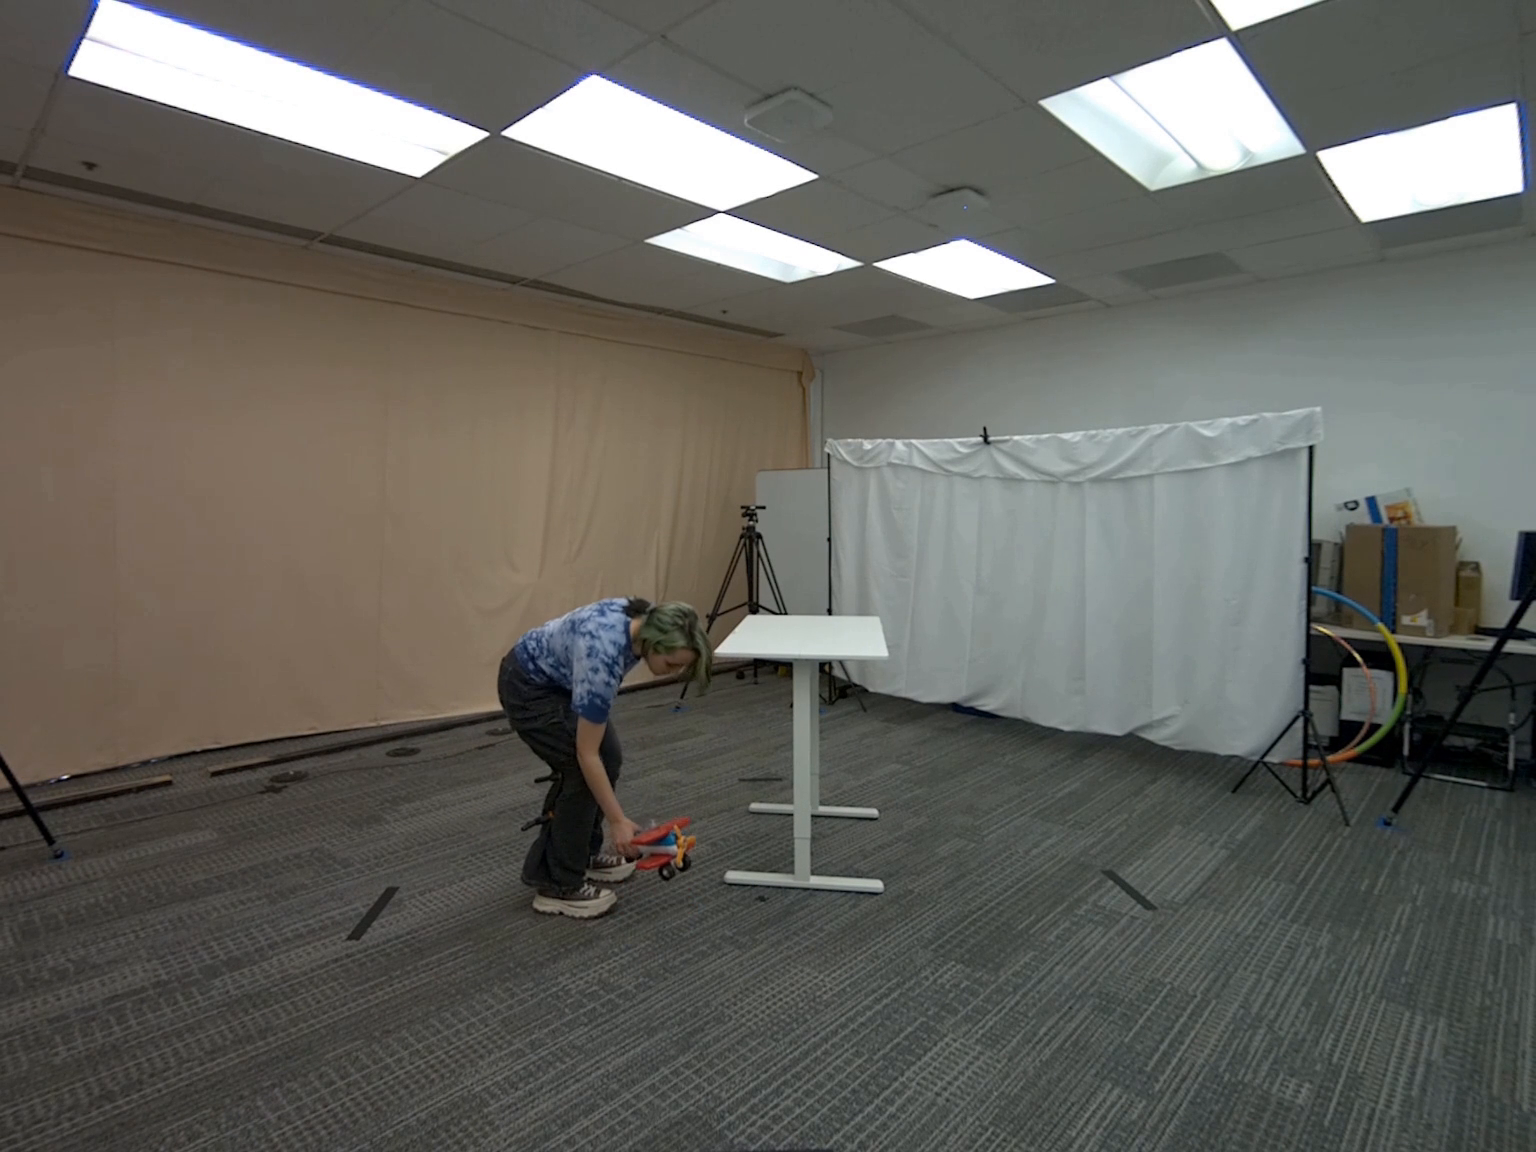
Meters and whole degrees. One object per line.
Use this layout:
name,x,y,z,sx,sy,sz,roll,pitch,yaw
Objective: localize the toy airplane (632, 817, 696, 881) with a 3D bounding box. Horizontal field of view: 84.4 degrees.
toy airplane,-0.376,0.889,2.747,0.261,0.156,0.250,3,5,7
